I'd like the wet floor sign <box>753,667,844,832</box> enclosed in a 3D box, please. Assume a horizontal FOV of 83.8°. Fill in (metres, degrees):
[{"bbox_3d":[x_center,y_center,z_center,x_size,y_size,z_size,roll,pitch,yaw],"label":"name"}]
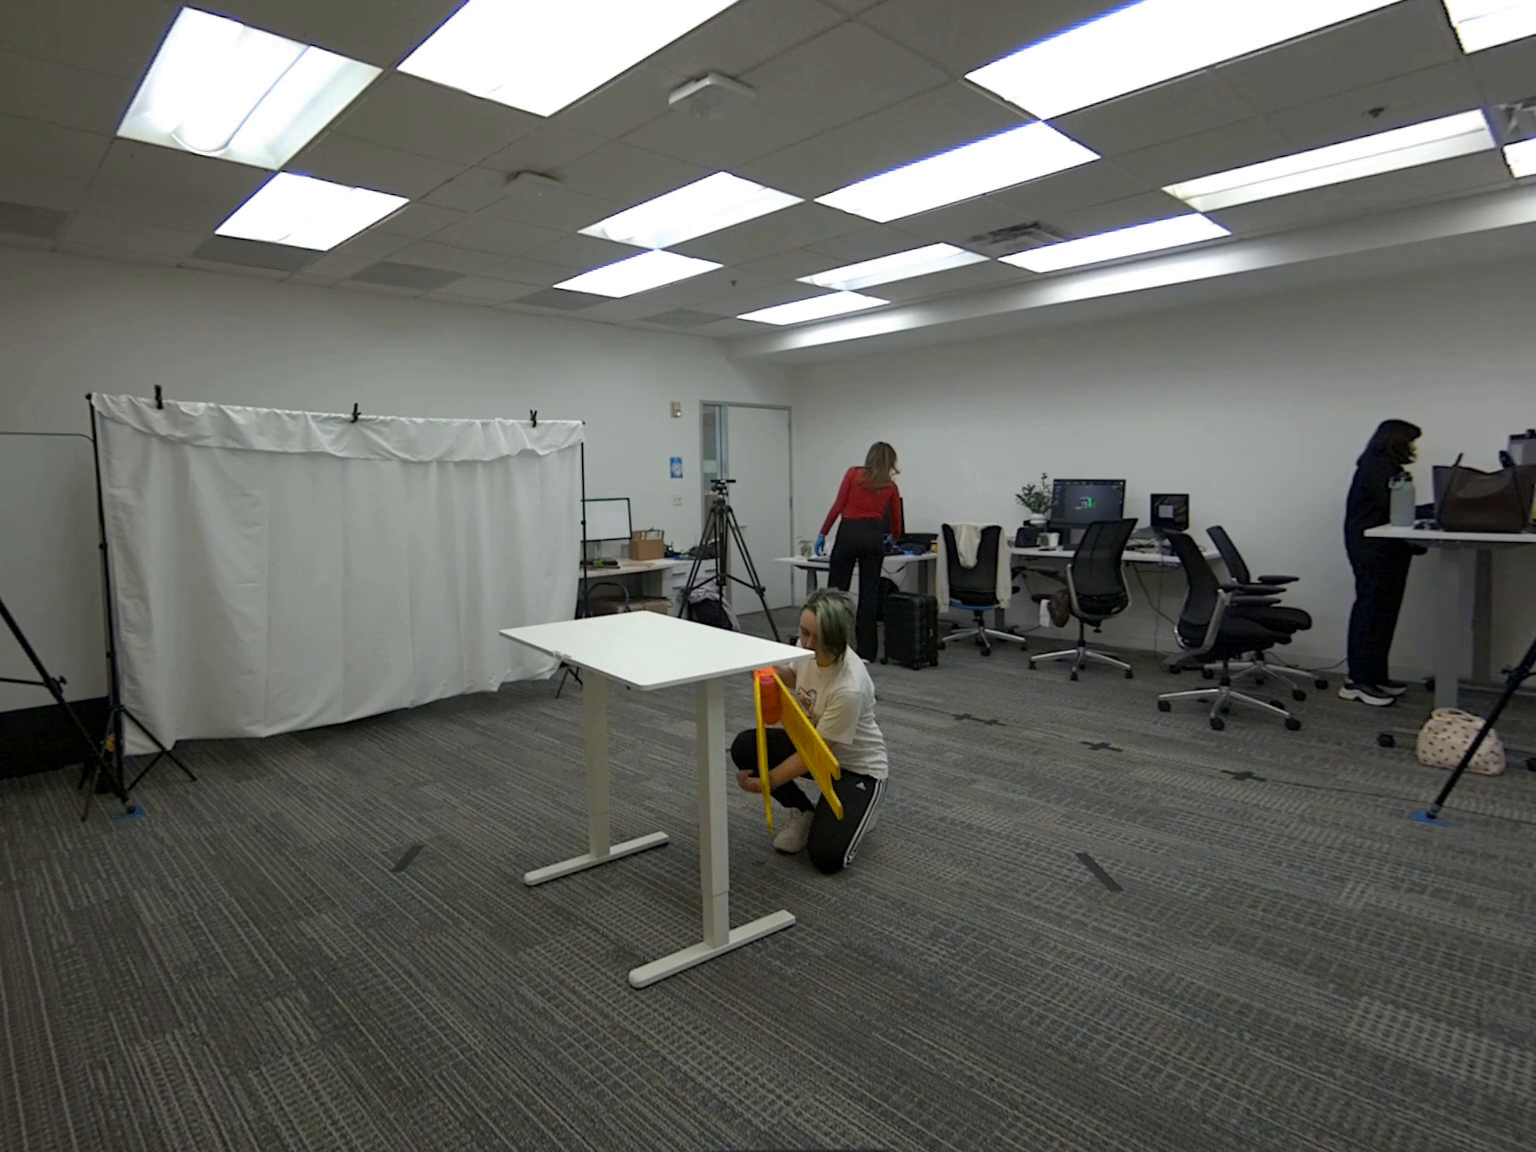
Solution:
[{"bbox_3d":[0.034,0.545,3.012,0.288,0.274,0.668,-13,37,-6],"label":"wet floor sign"}]
